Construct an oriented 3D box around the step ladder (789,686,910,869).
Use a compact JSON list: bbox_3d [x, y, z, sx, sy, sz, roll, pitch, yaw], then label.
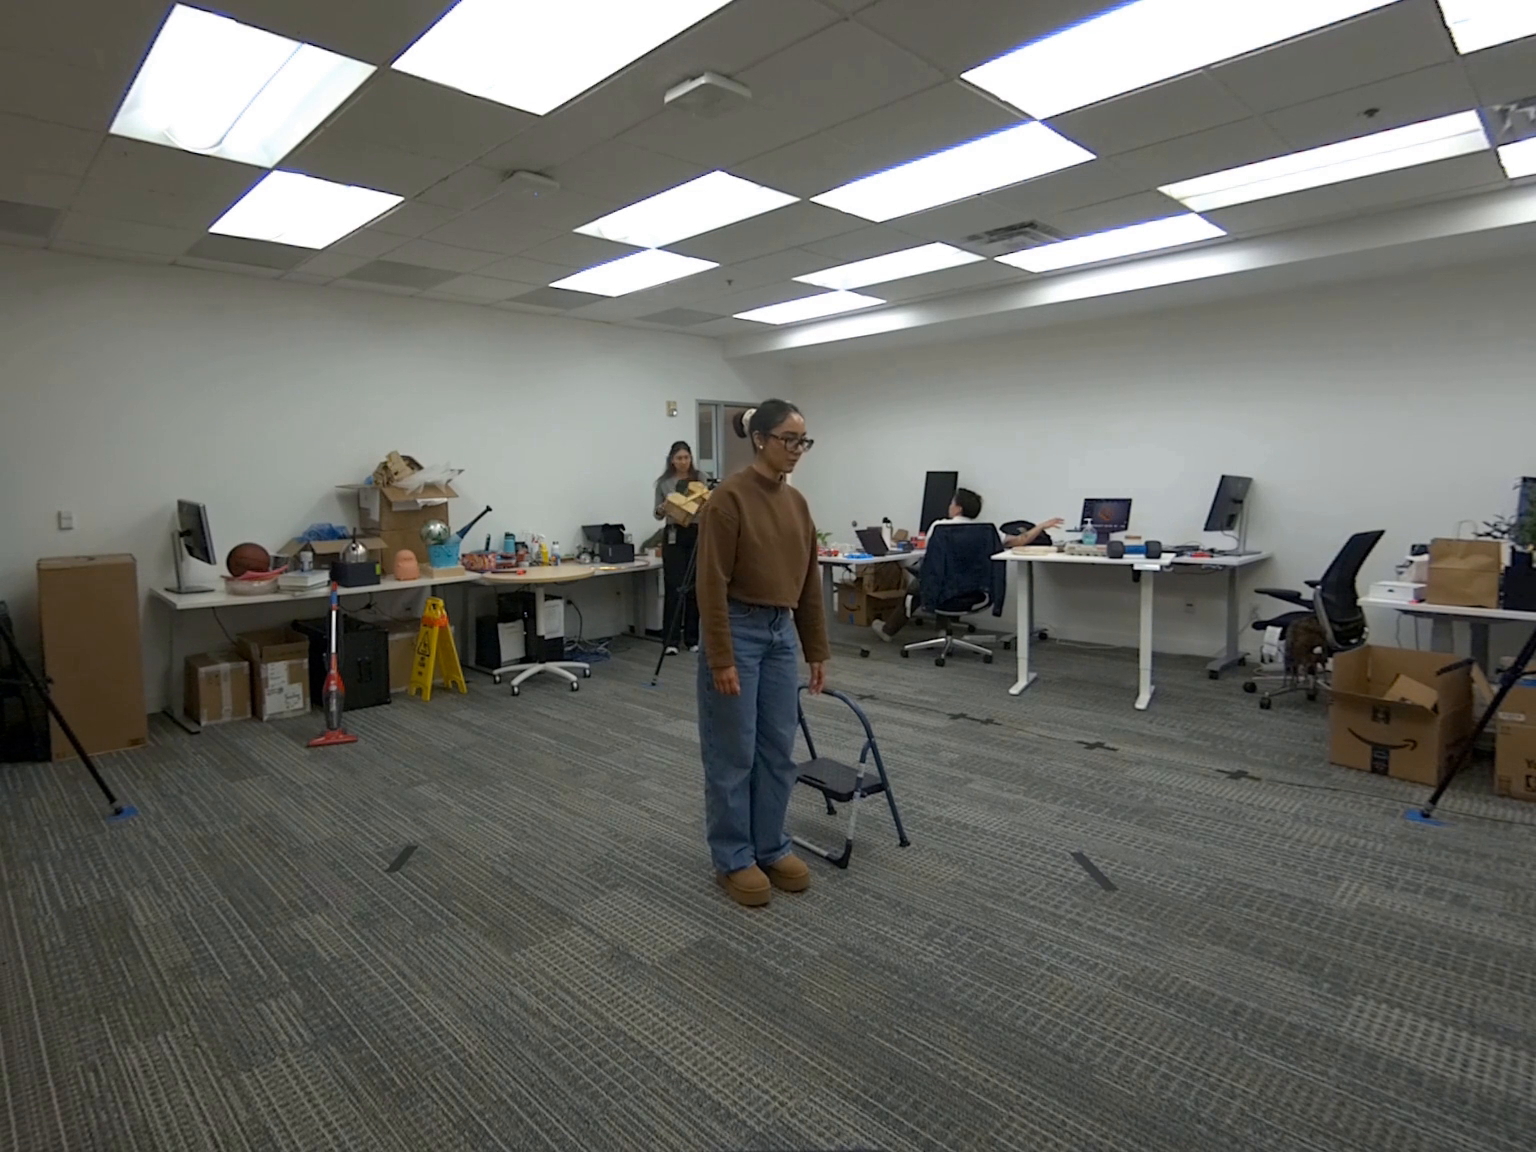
[{"bbox_3d":[0.269,0.713,3.291,0.340,0.604,0.443,-5,6,-38],"label":"step ladder"}]
